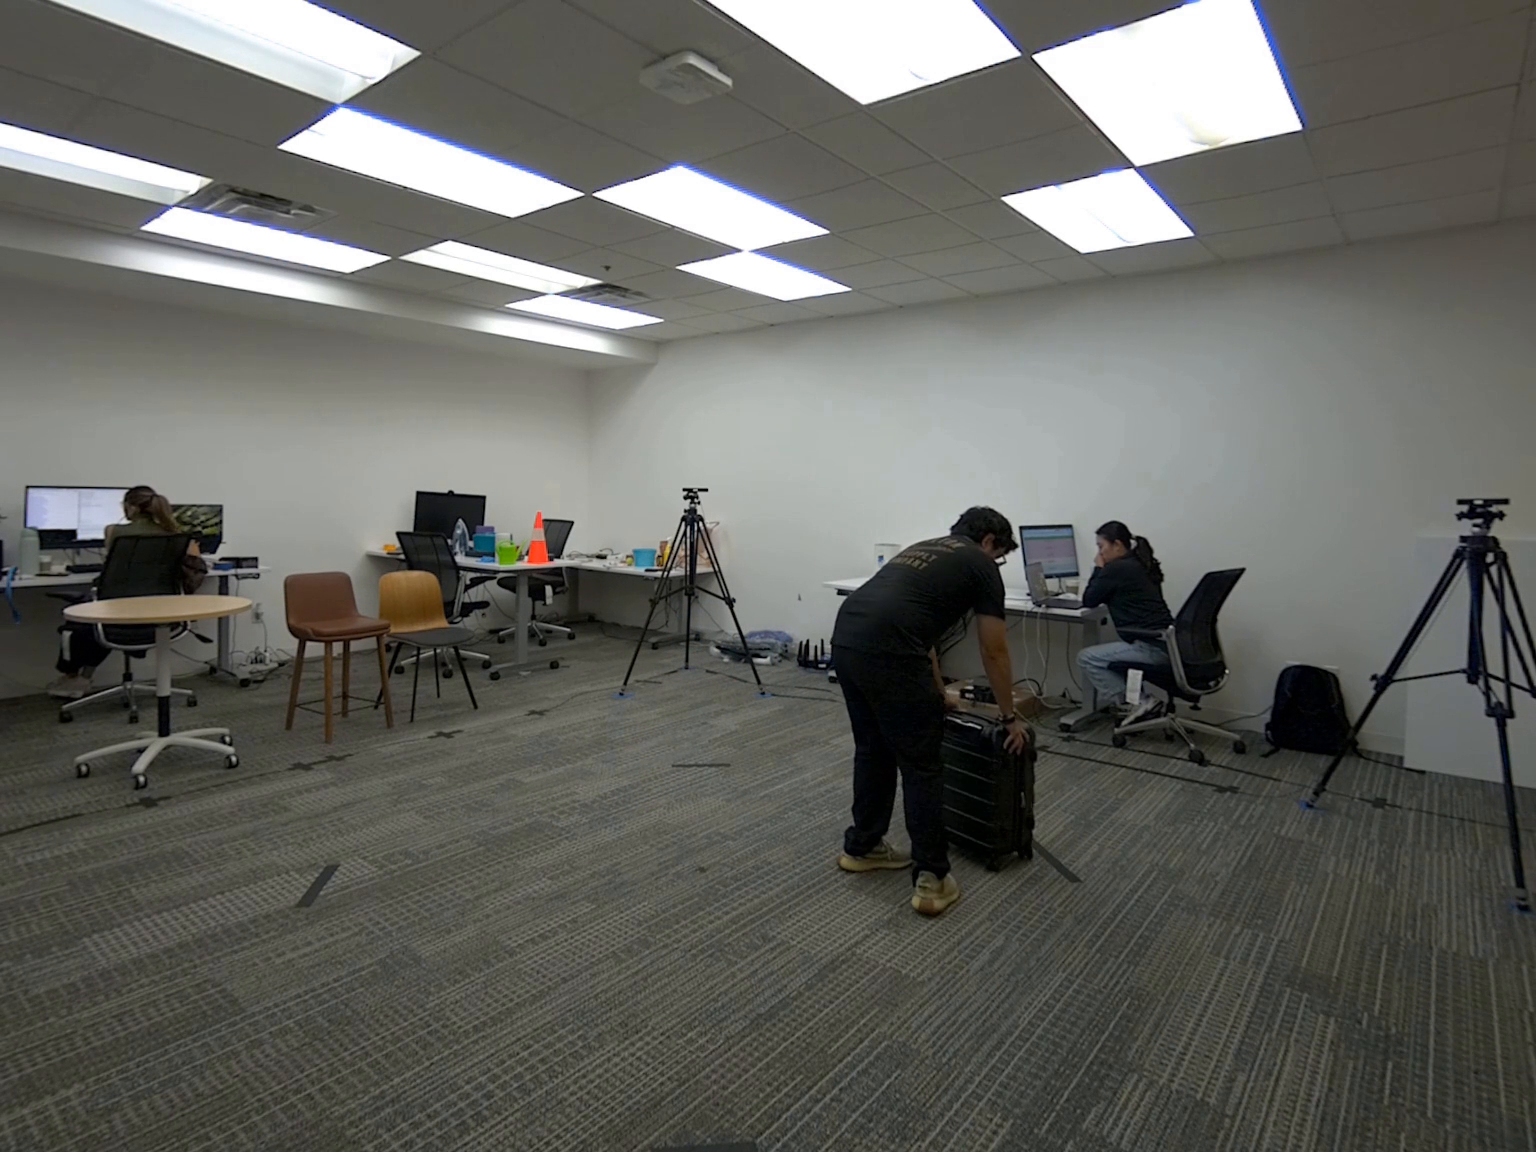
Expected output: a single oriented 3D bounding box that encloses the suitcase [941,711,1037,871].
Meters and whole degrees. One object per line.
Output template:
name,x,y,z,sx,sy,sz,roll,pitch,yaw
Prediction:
suitcase,0.824,0.800,3.311,0.241,0.547,0.388,0,6,-35
